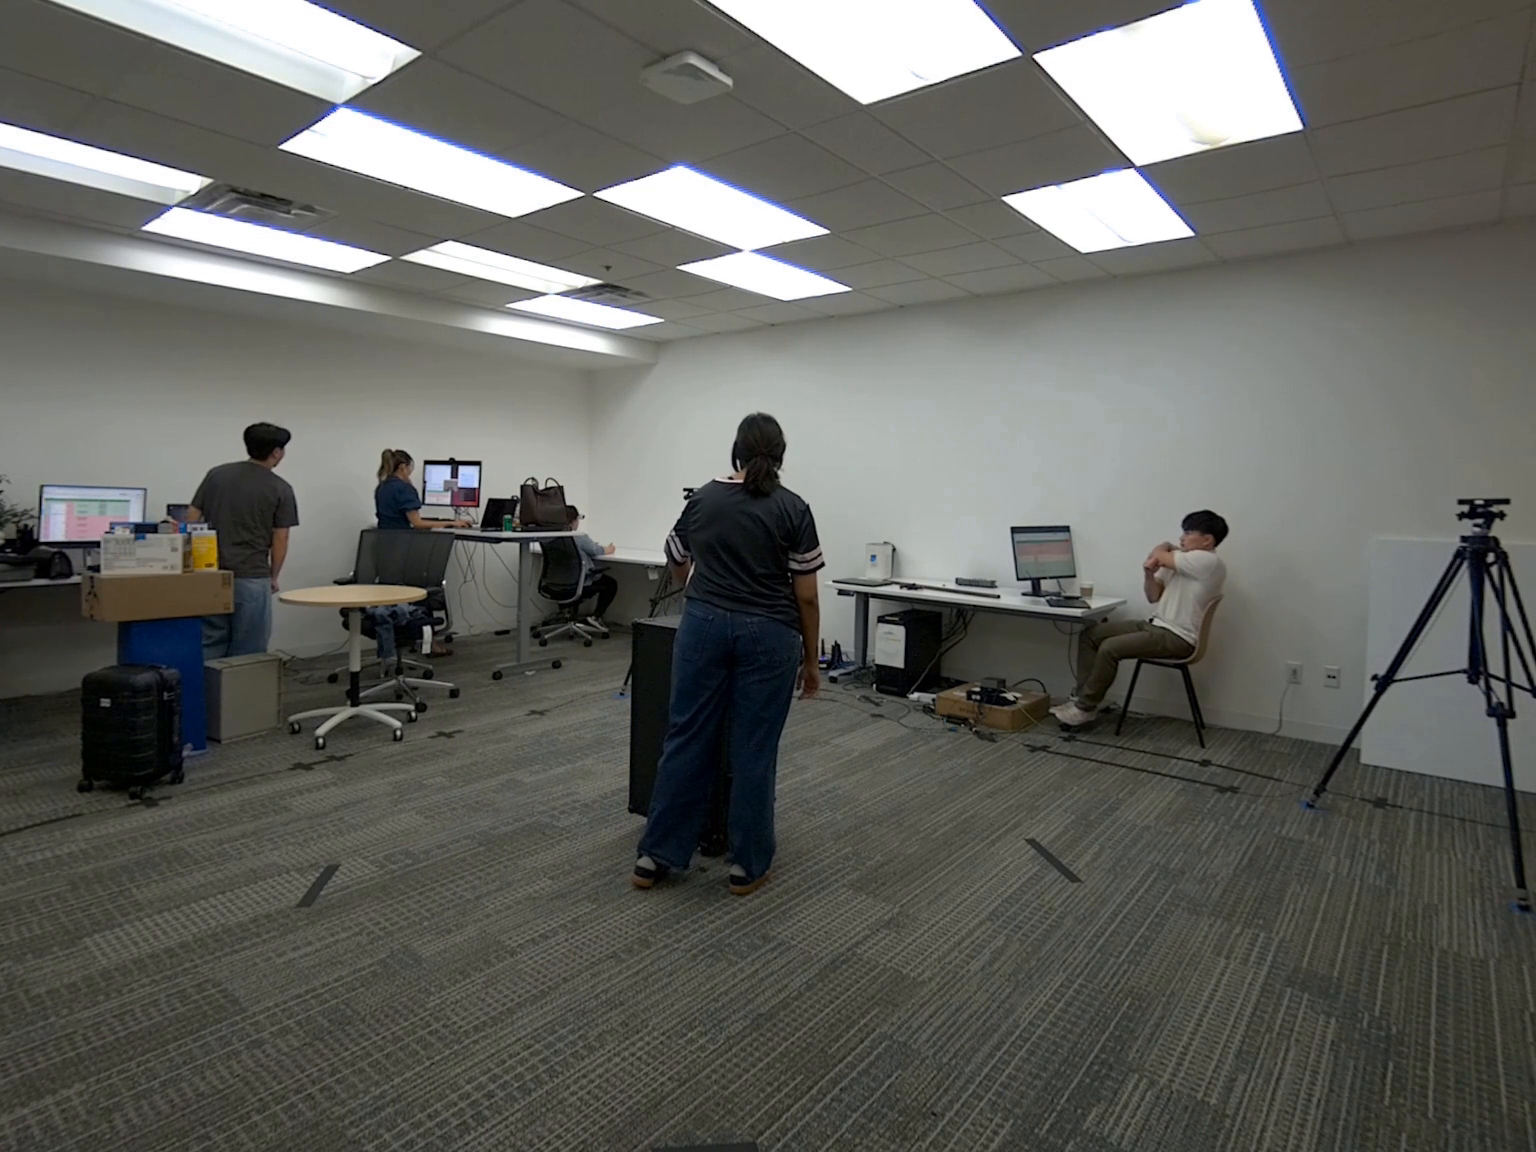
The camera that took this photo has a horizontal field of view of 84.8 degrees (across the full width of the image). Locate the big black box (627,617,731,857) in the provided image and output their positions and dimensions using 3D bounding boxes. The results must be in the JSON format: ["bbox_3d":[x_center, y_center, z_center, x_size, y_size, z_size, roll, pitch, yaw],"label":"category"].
[{"bbox_3d":[-0.280,0.613,3.443,0.541,0.866,0.373,4,3,37],"label":"big black box"}]
